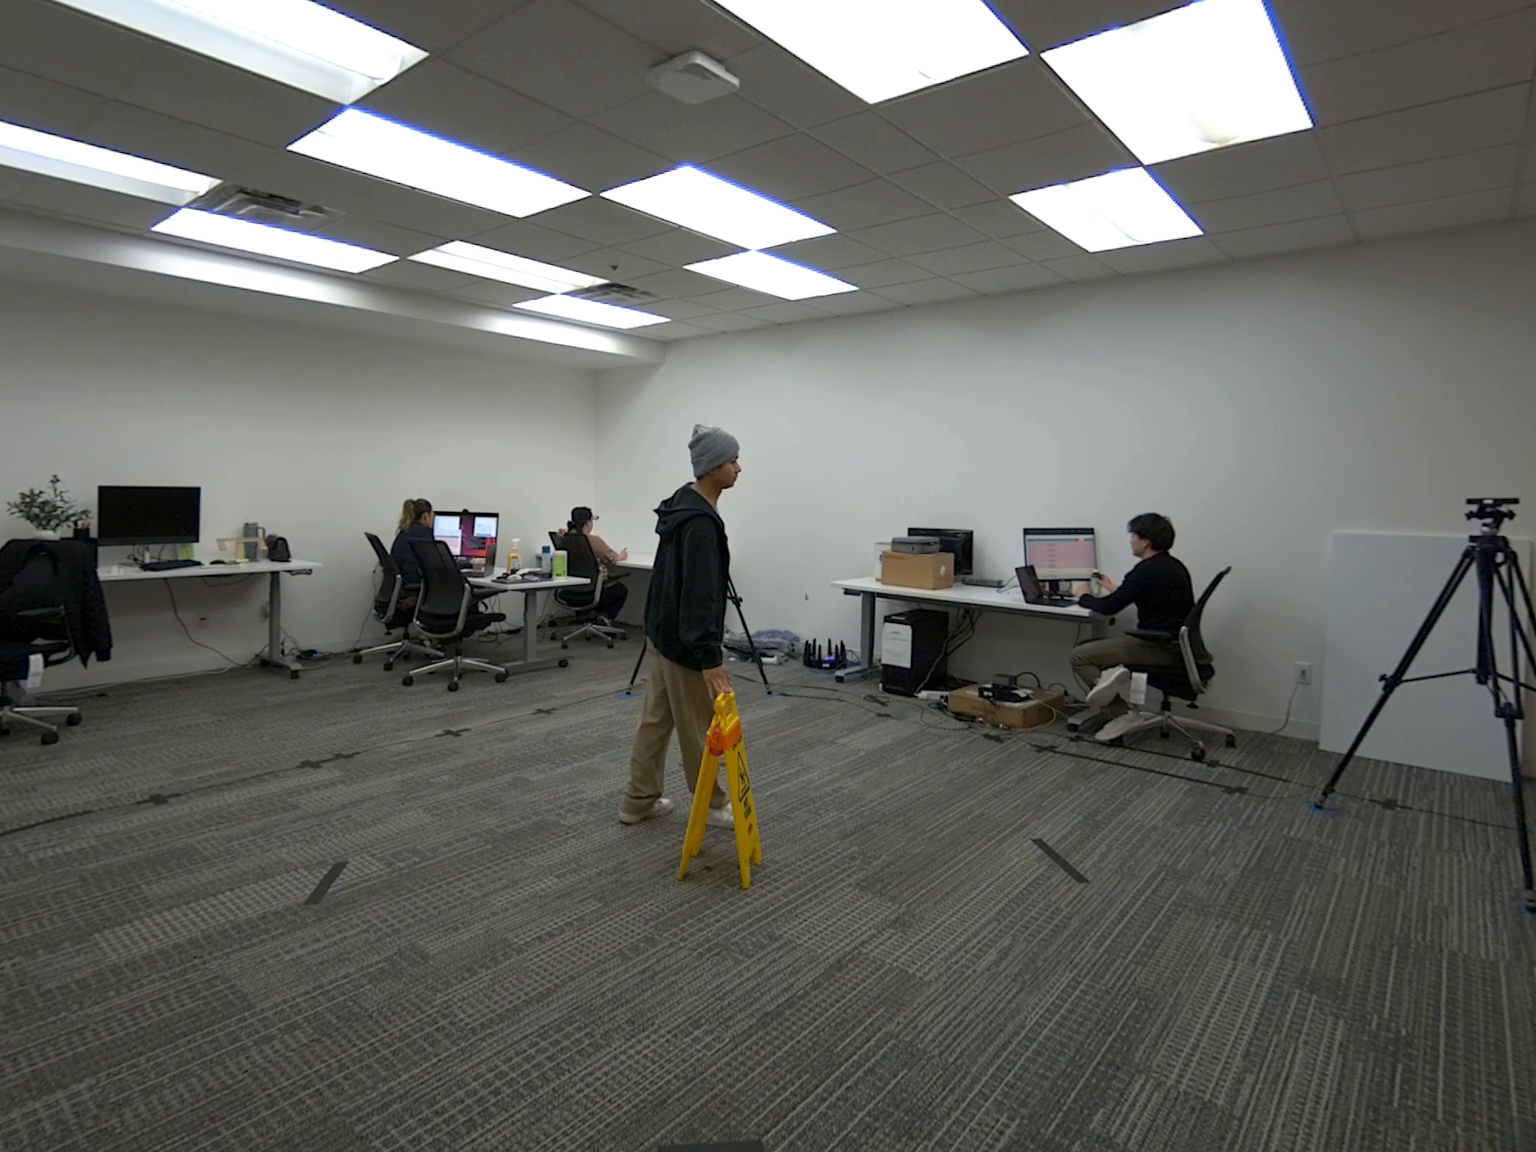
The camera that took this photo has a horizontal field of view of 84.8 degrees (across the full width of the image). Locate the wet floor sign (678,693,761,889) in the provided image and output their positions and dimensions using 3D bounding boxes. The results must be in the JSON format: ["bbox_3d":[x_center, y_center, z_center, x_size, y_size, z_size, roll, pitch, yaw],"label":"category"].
[{"bbox_3d":[-0.172,0.741,3.091,0.294,0.643,0.280,3,4,11],"label":"wet floor sign"}]
